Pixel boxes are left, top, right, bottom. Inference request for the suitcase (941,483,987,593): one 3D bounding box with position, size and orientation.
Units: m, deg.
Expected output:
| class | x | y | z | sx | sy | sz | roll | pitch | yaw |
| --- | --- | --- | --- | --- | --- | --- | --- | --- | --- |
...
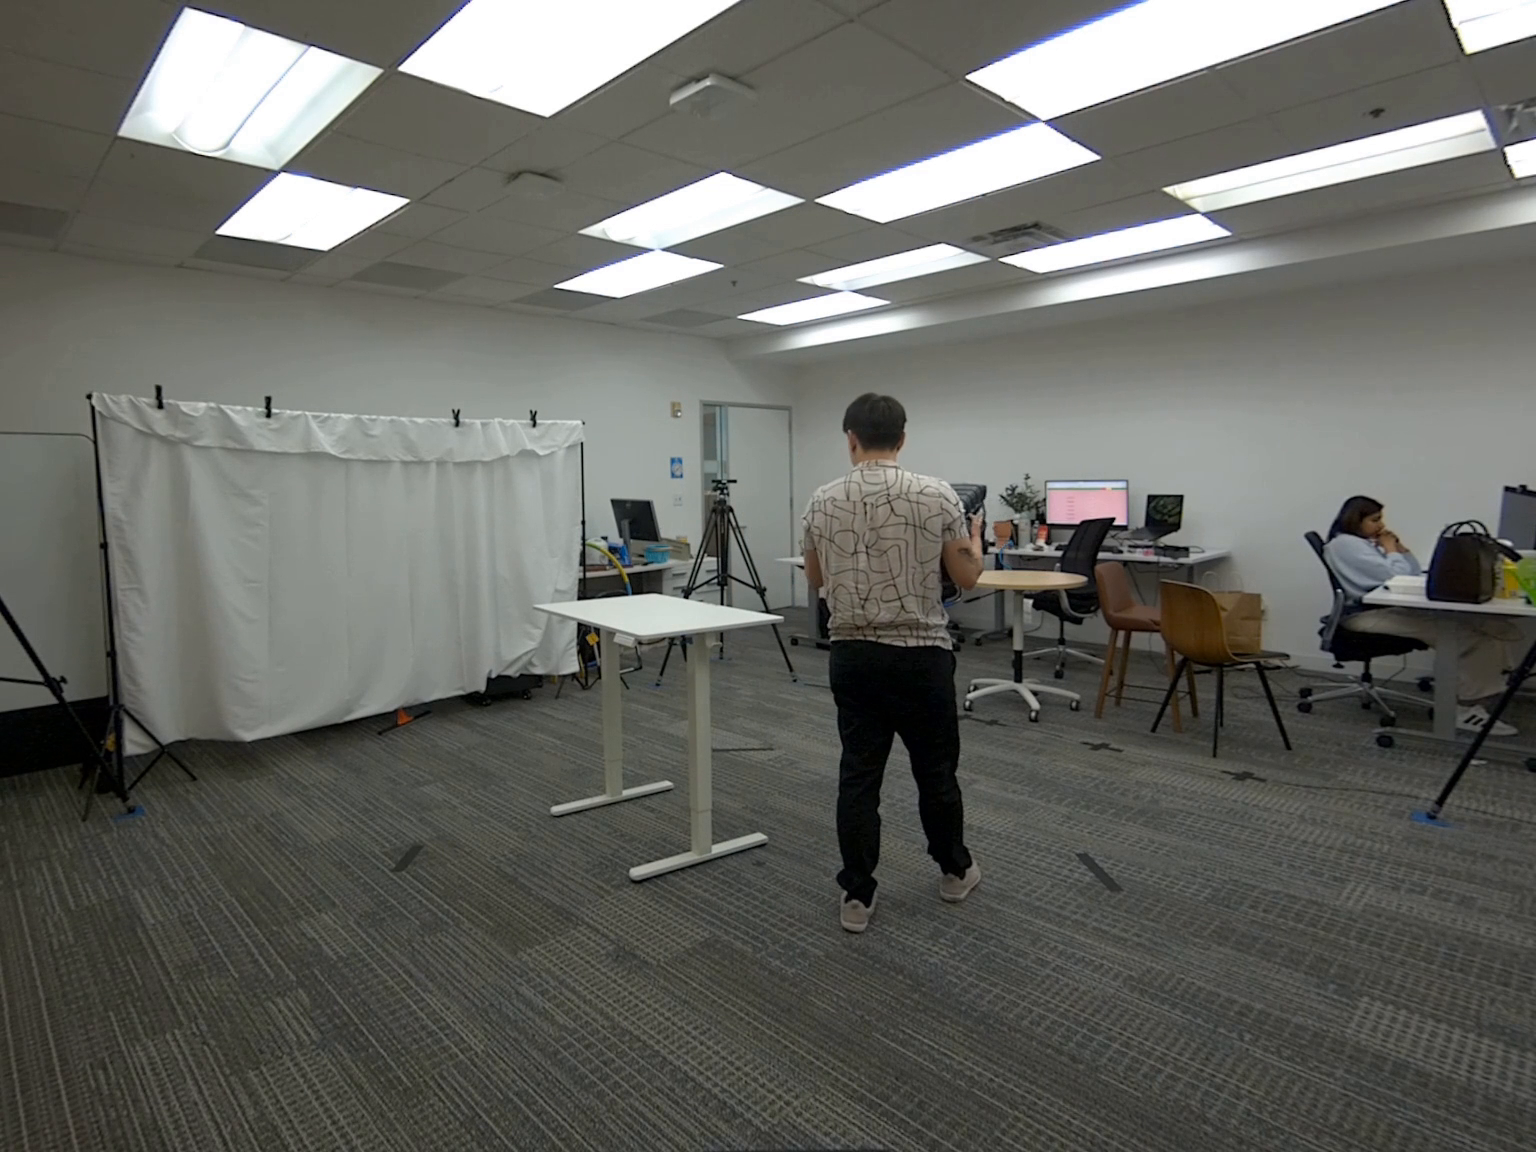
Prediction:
| class | x | y | z | sx | sy | sz | roll | pitch | yaw |
| --- | --- | --- | --- | --- | --- | --- | --- | --- | --- |
| suitcase | 0.577 | -0.168 | 3.043 | 0.384 | 0.245 | 0.543 | 0 | 15 | 27 |
